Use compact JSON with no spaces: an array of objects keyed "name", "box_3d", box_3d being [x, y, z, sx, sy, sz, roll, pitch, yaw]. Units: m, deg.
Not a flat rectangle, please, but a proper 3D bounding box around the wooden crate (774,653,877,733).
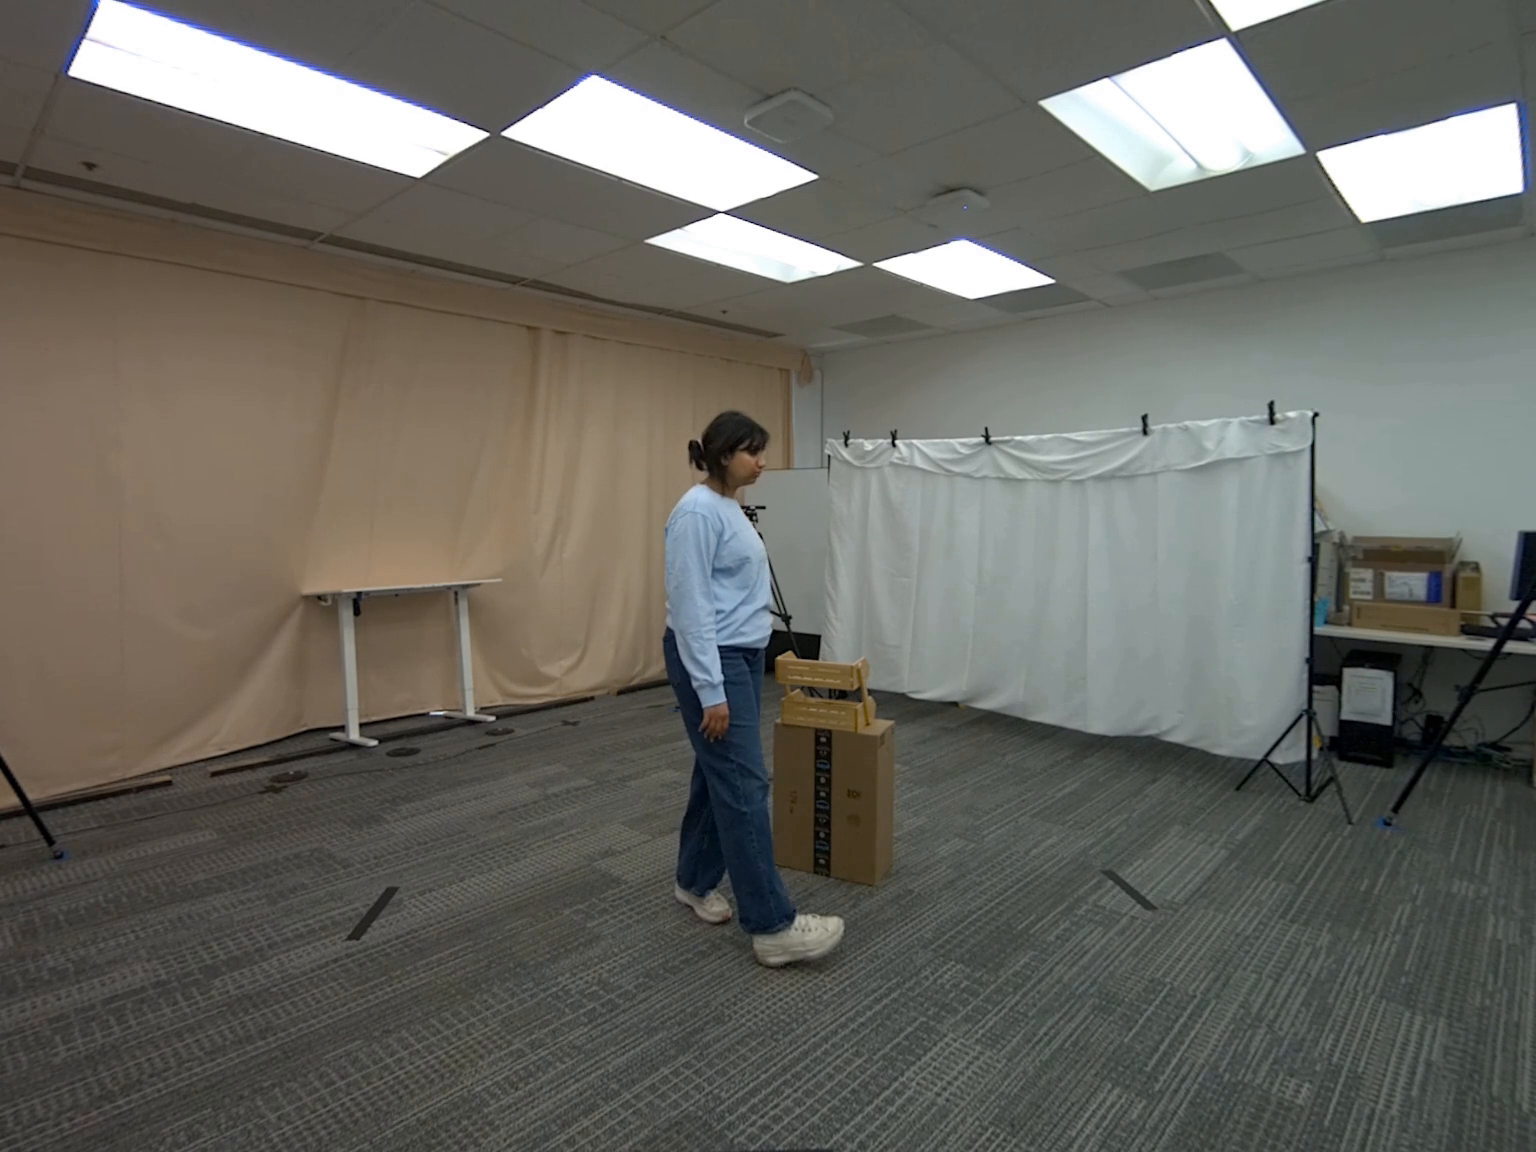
[{"name":"wooden crate","box_3d":[0.232,0.426,3.223,0.332,0.272,0.295,2,6,24]}]
